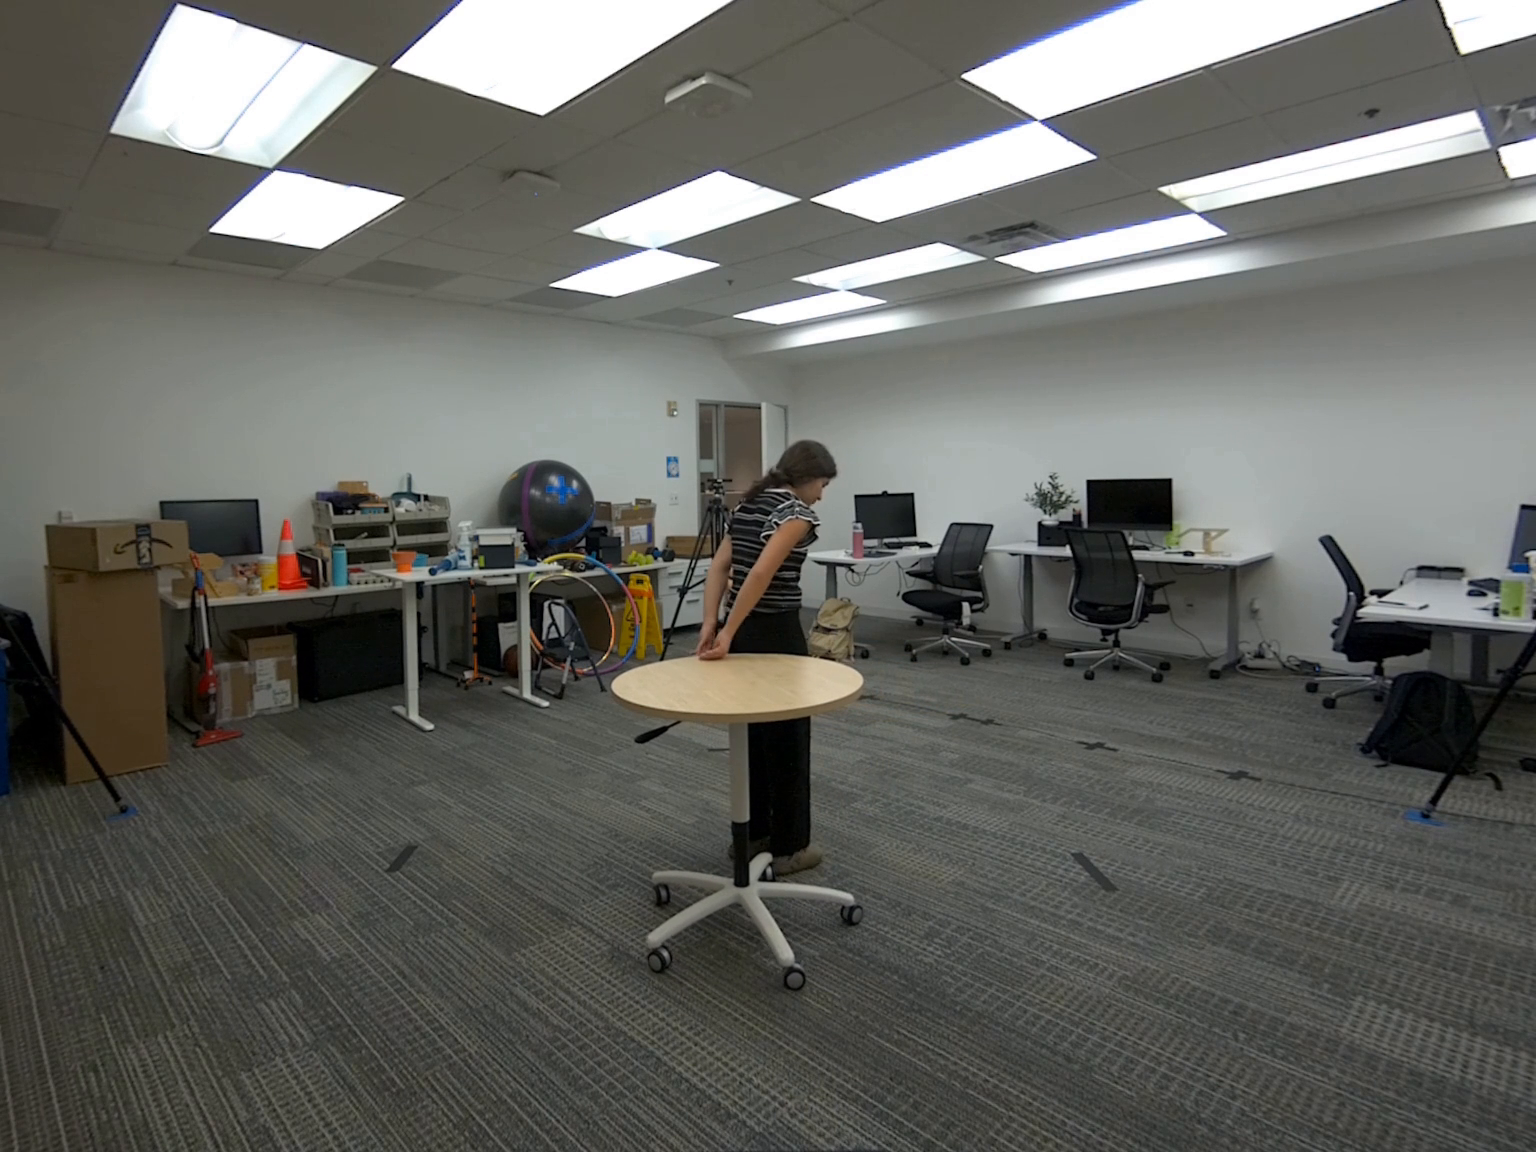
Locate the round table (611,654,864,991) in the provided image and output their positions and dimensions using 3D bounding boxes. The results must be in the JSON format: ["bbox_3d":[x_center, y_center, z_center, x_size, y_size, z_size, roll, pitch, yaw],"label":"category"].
[{"bbox_3d":[-0.074,0.708,2.643,0.784,0.783,0.789,-2,5,-2],"label":"round table"}]
